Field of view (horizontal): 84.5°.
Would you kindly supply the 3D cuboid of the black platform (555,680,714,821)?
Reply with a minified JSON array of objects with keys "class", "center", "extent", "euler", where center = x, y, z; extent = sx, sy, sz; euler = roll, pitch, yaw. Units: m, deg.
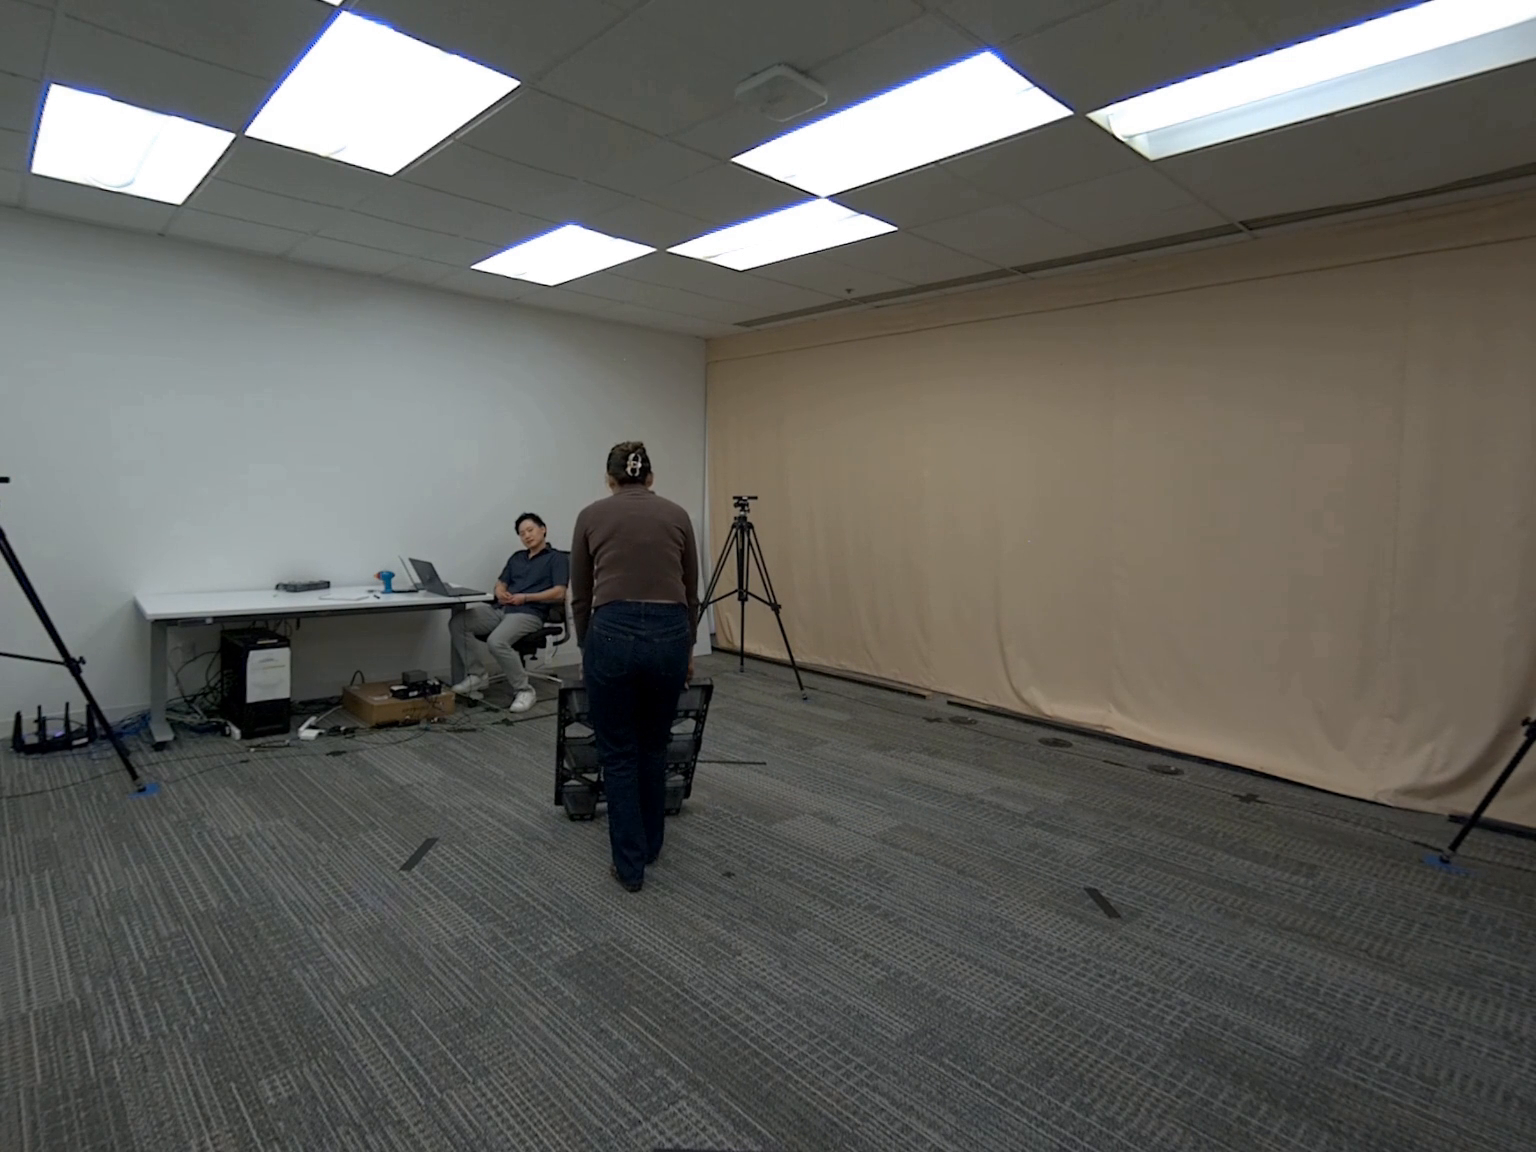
[{"class":"black platform","center":[-0.574,0.730,3.449],"extent":[0.599,0.792,0.147],"euler":[0,41,-13]}]
